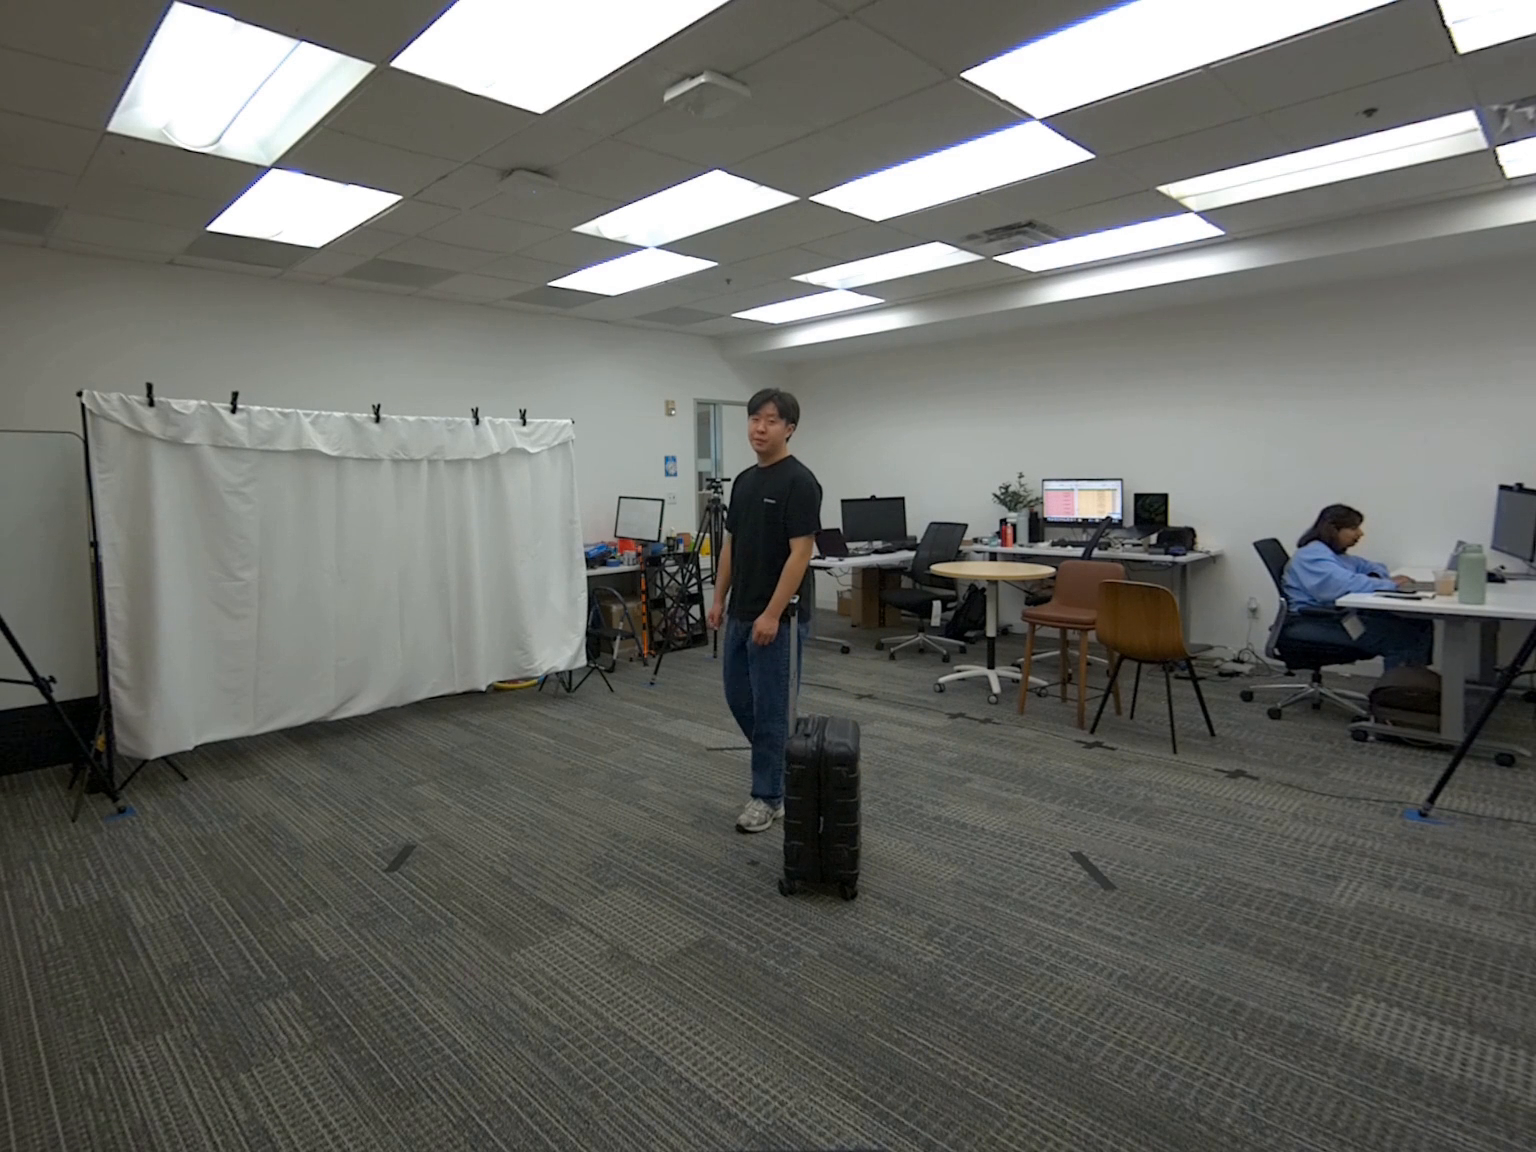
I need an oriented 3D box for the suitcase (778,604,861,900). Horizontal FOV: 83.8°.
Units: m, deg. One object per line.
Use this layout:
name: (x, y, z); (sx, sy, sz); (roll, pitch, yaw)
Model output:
suitcase: (0.212, 0.584, 2.939); (0.259, 0.974, 0.383); (2, 6, 7)
